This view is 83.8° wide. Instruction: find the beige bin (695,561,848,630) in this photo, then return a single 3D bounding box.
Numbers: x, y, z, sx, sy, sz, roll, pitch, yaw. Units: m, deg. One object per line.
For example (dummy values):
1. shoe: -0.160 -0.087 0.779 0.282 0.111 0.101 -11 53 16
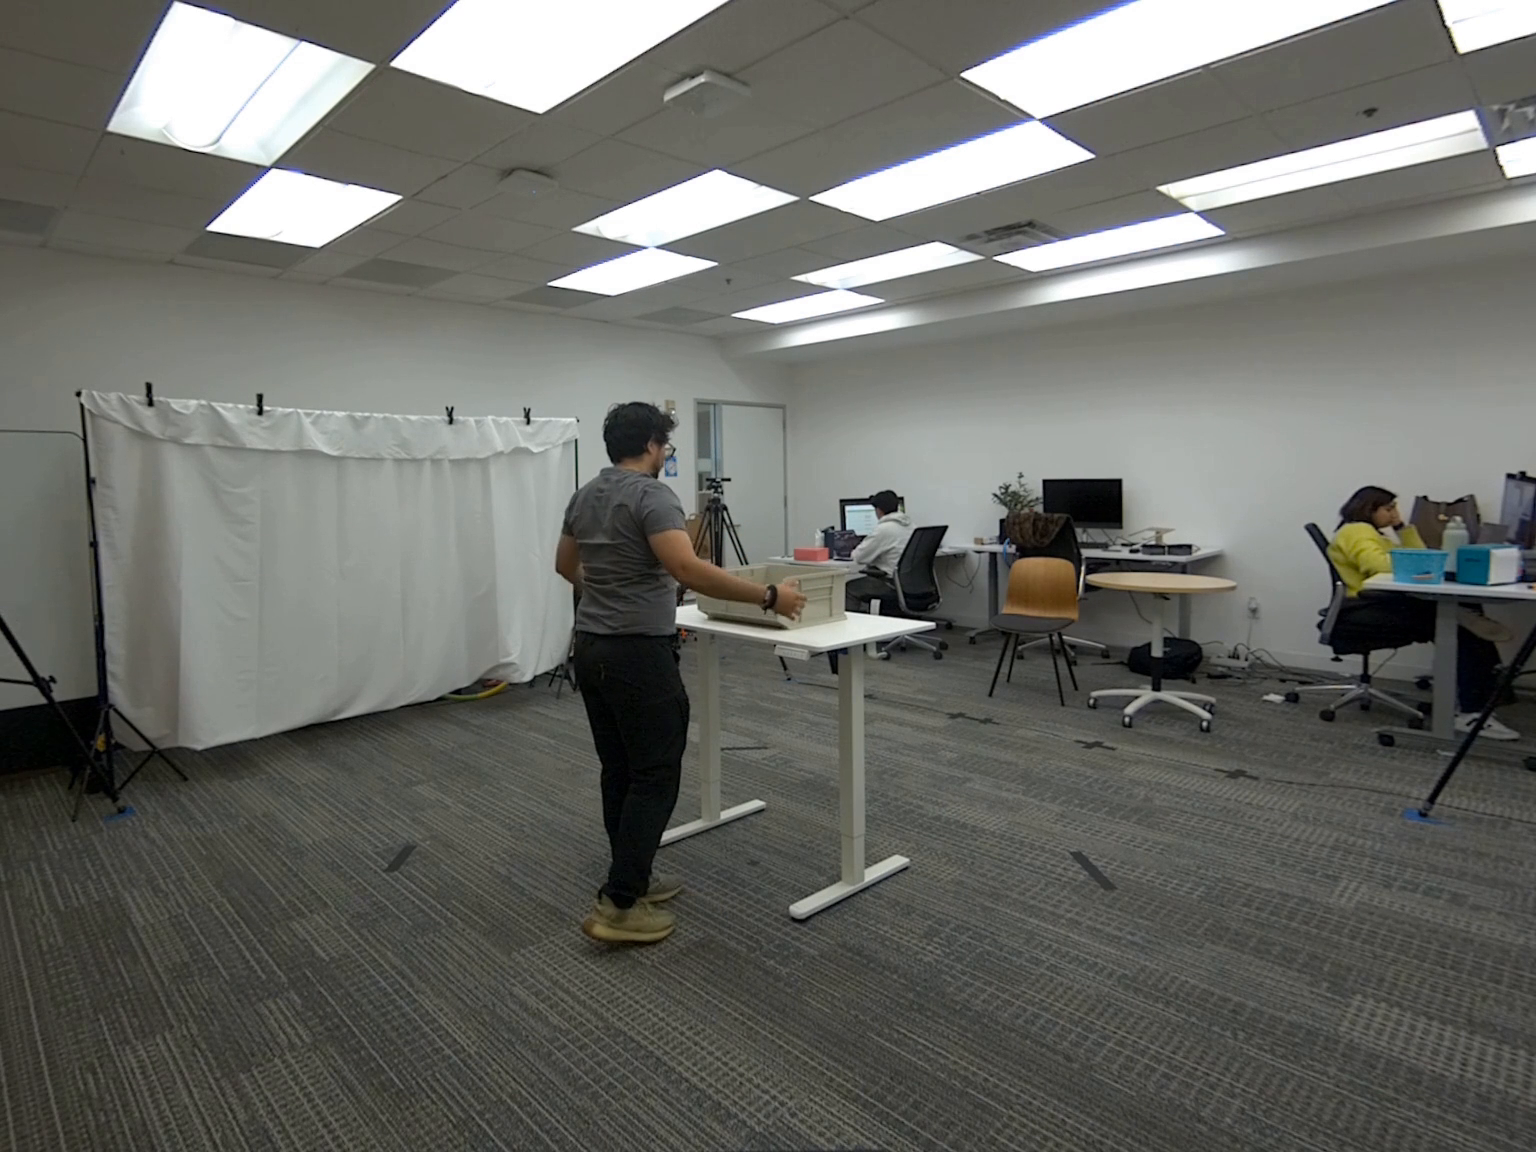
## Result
1. beige bin: 0.018 0.074 3.095 0.367 0.188 0.435 -5 7 -44
